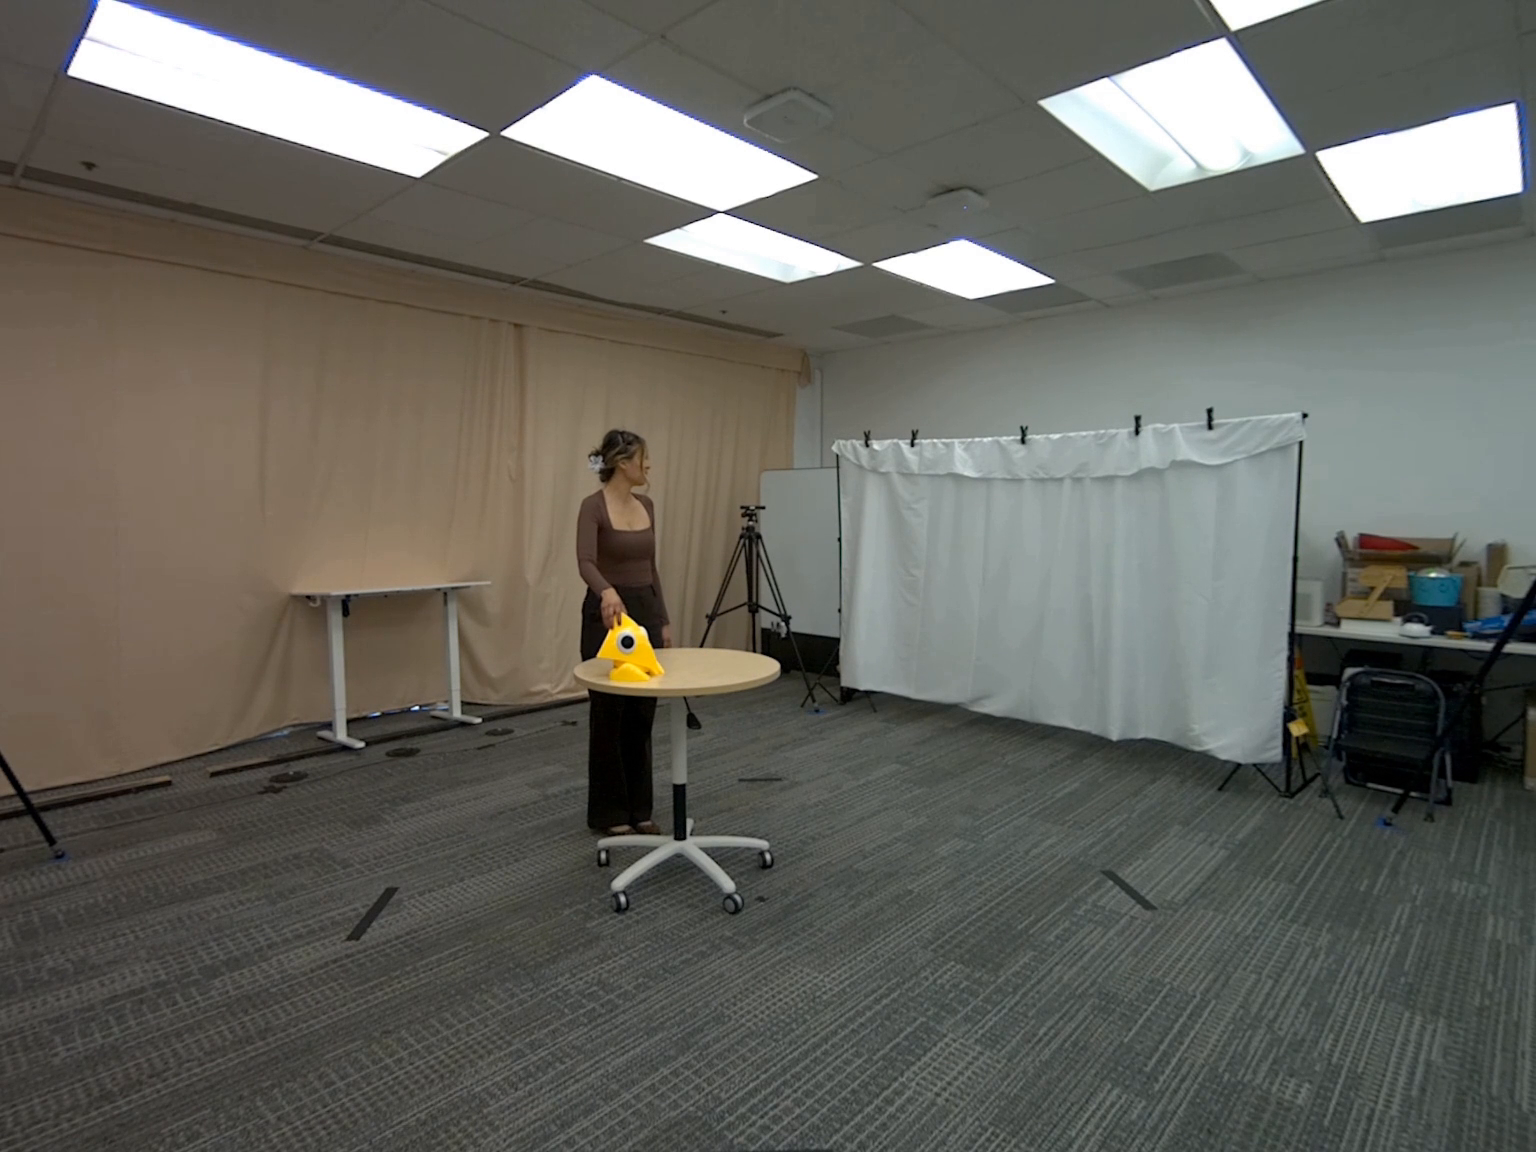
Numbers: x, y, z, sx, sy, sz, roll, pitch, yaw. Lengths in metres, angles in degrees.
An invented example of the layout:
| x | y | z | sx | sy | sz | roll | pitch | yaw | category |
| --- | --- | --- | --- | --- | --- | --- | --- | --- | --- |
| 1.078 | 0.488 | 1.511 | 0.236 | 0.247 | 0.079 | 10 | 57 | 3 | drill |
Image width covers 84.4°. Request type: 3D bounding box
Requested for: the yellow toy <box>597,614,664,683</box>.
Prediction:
| x | y | z | sx | sy | sz | roll | pitch | yaw | category |
| --- | --- | --- | --- | --- | --- | --- | --- | --- | --- |
| -0.480 | 0.240 | 2.979 | 0.197 | 0.230 | 0.201 | 0 | 4 | 20 | yellow toy |
